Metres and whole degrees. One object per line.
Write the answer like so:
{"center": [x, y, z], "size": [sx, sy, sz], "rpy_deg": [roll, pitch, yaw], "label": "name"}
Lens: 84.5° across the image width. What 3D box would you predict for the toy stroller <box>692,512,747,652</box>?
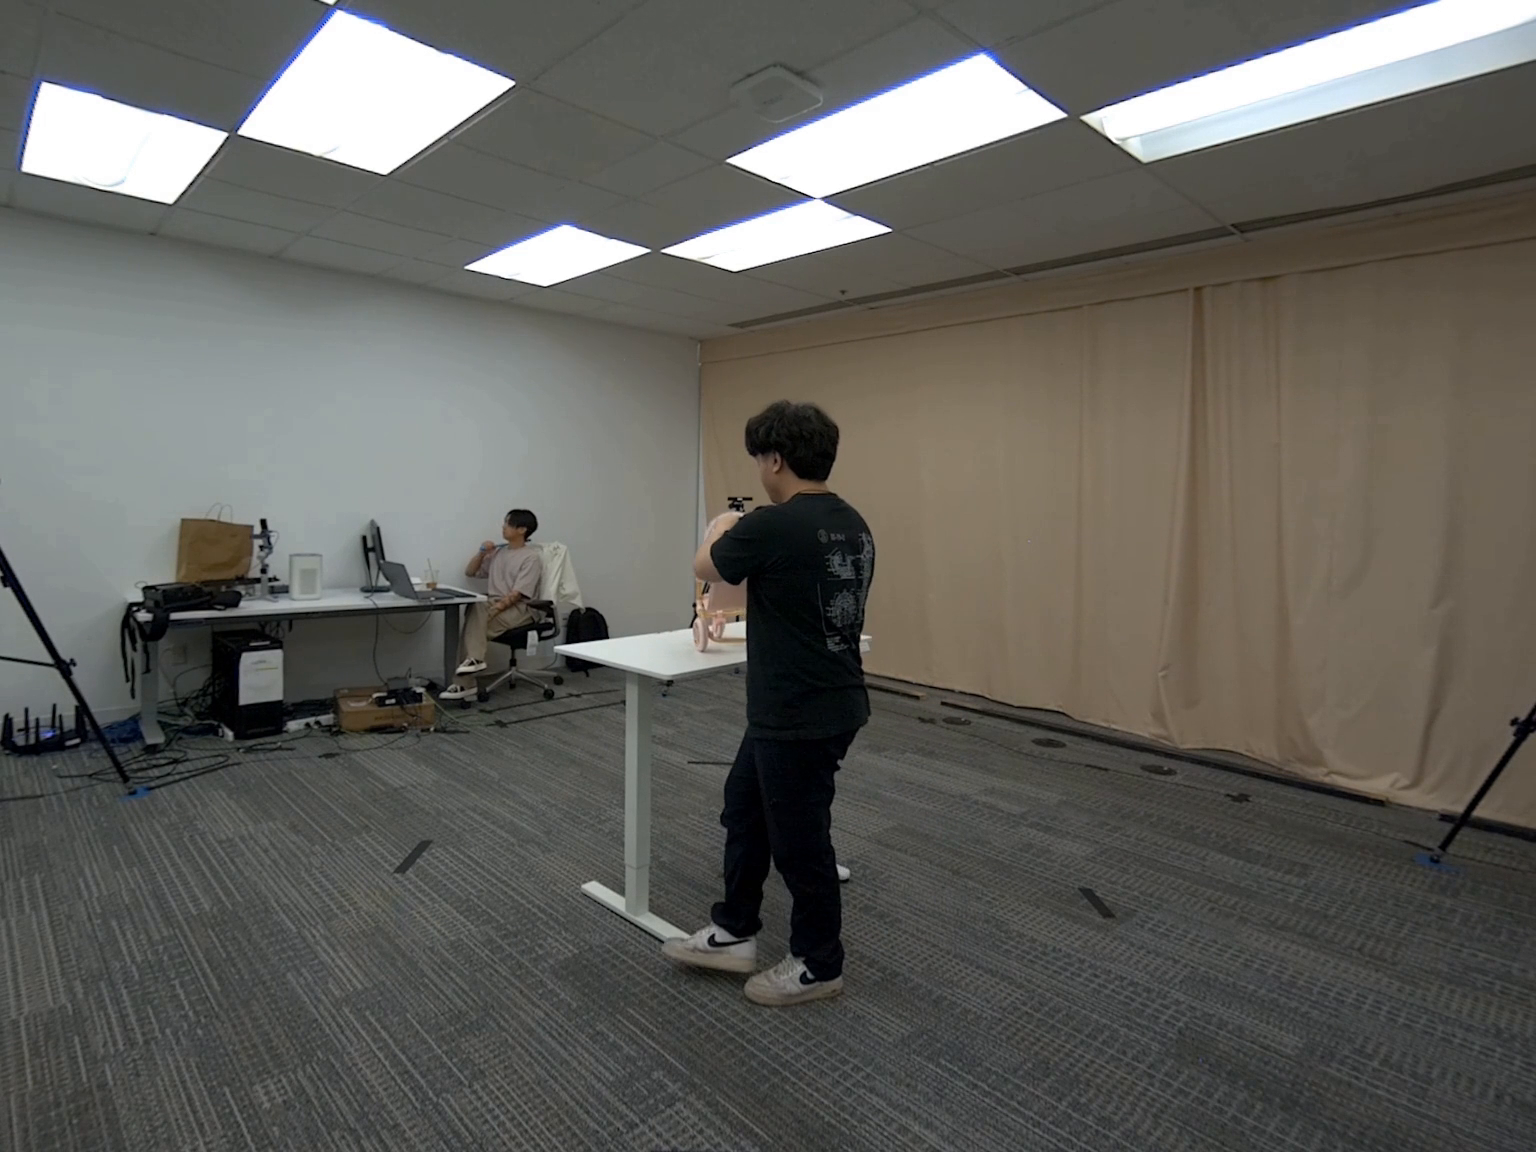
{"center": [-0.127, 0.023, 2.880], "size": [0.279, 0.529, 0.349], "rpy_deg": [1, 18, -13], "label": "toy stroller"}
